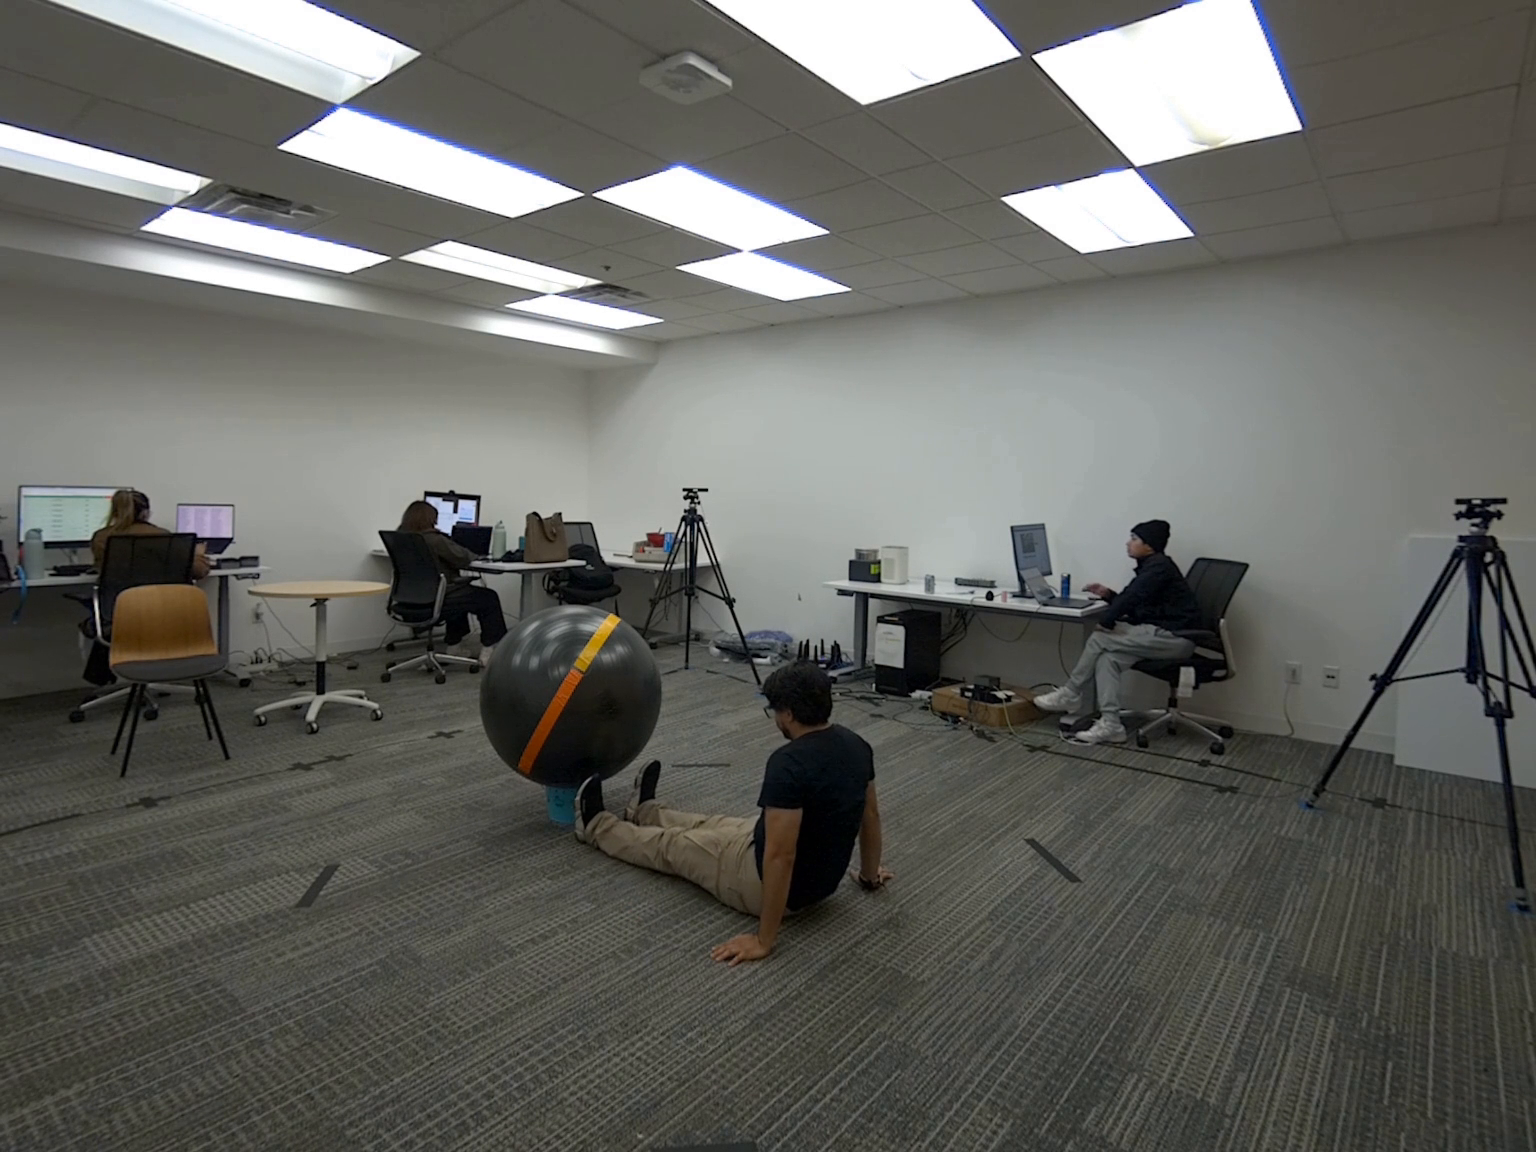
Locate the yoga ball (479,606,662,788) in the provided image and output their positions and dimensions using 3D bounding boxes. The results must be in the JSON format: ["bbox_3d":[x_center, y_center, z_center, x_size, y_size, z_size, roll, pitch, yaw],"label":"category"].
[{"bbox_3d":[-0.842,0.506,3.596,0.757,0.755,0.762,1,4,-2],"label":"yoga ball"}]
